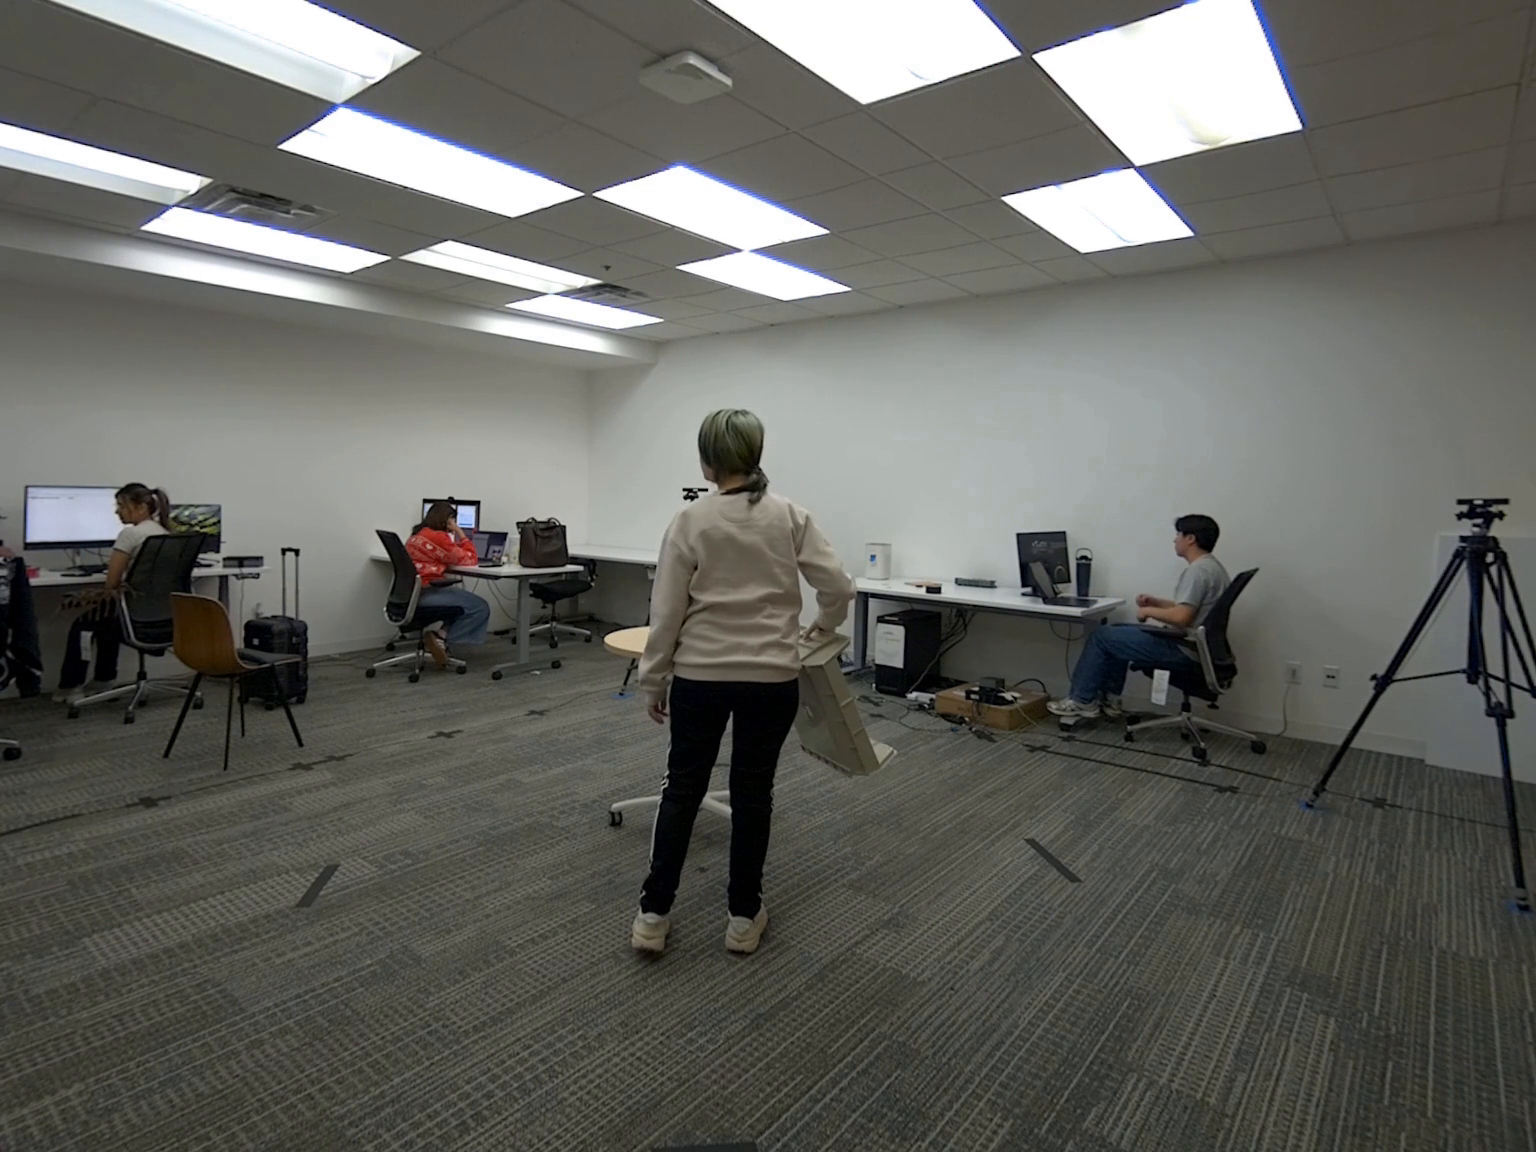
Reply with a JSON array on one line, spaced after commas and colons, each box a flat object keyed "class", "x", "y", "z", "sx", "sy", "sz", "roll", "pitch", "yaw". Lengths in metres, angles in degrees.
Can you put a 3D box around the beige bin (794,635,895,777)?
[{"class": "beige bin", "x": 0.190, "y": 0.401, "z": 2.797, "sx": 0.187, "sy": 0.415, "sz": 0.387, "roll": -27, "pitch": 14, "yaw": -20}]
